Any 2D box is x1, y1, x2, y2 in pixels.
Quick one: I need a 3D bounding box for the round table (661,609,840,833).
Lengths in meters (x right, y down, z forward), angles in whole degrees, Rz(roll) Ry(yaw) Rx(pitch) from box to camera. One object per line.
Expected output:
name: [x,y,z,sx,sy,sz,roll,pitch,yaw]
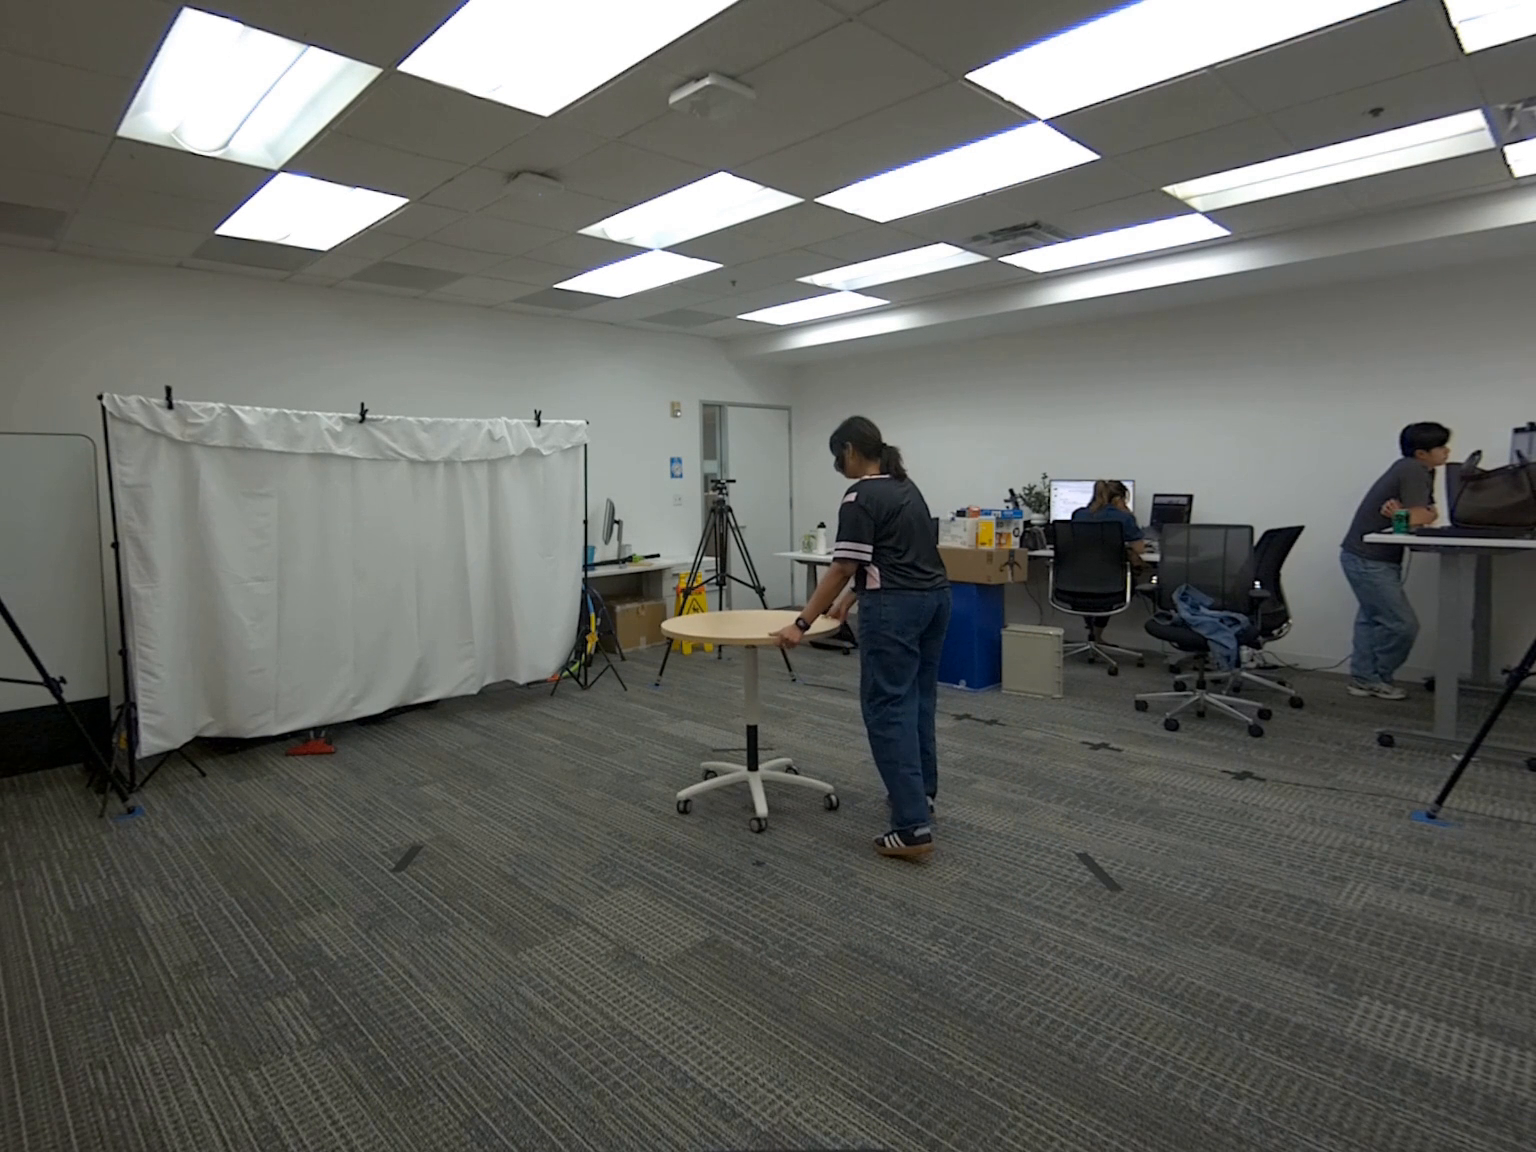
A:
round table: [-0.066,0.589,3.674,0.784,0.784,0.789,-1,5,-2]
